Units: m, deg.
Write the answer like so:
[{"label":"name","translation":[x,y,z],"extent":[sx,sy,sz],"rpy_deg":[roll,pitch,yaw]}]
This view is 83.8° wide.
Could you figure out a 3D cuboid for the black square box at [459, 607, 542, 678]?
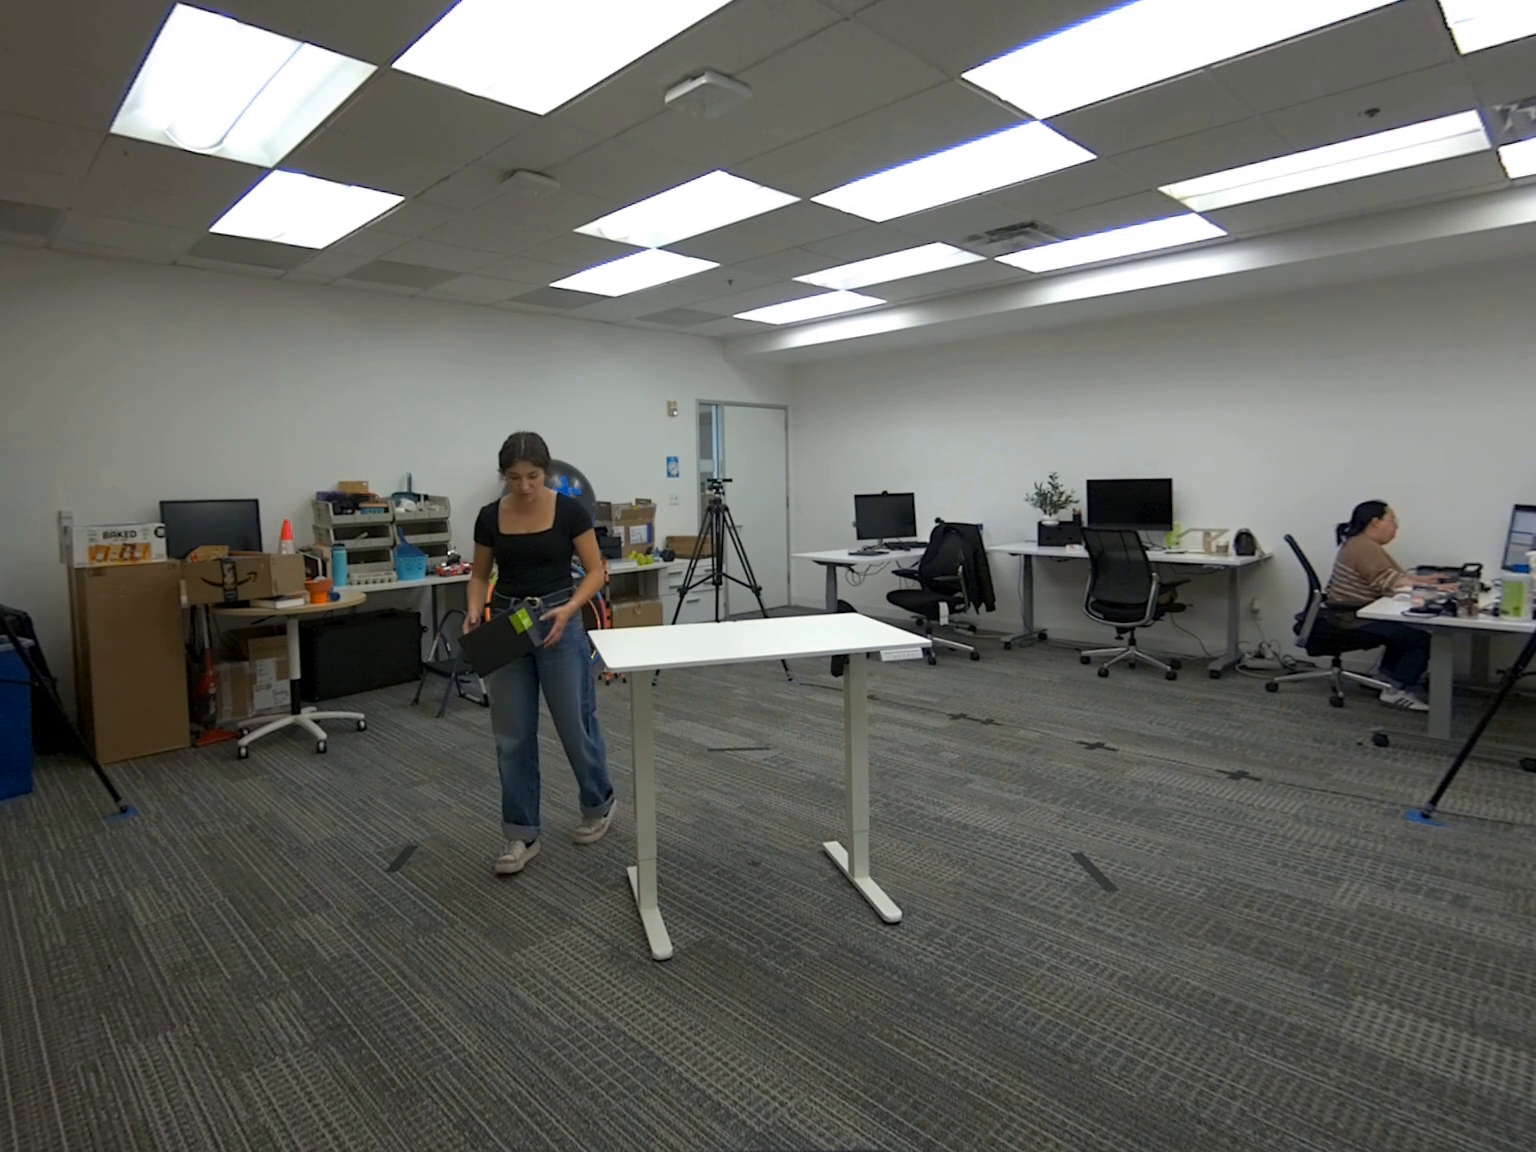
[{"label":"black square box","translation":[-0.908,0.211,2.921],"extent":[0.216,0.155,0.229],"rpy_deg":[-27,4,-5]}]
